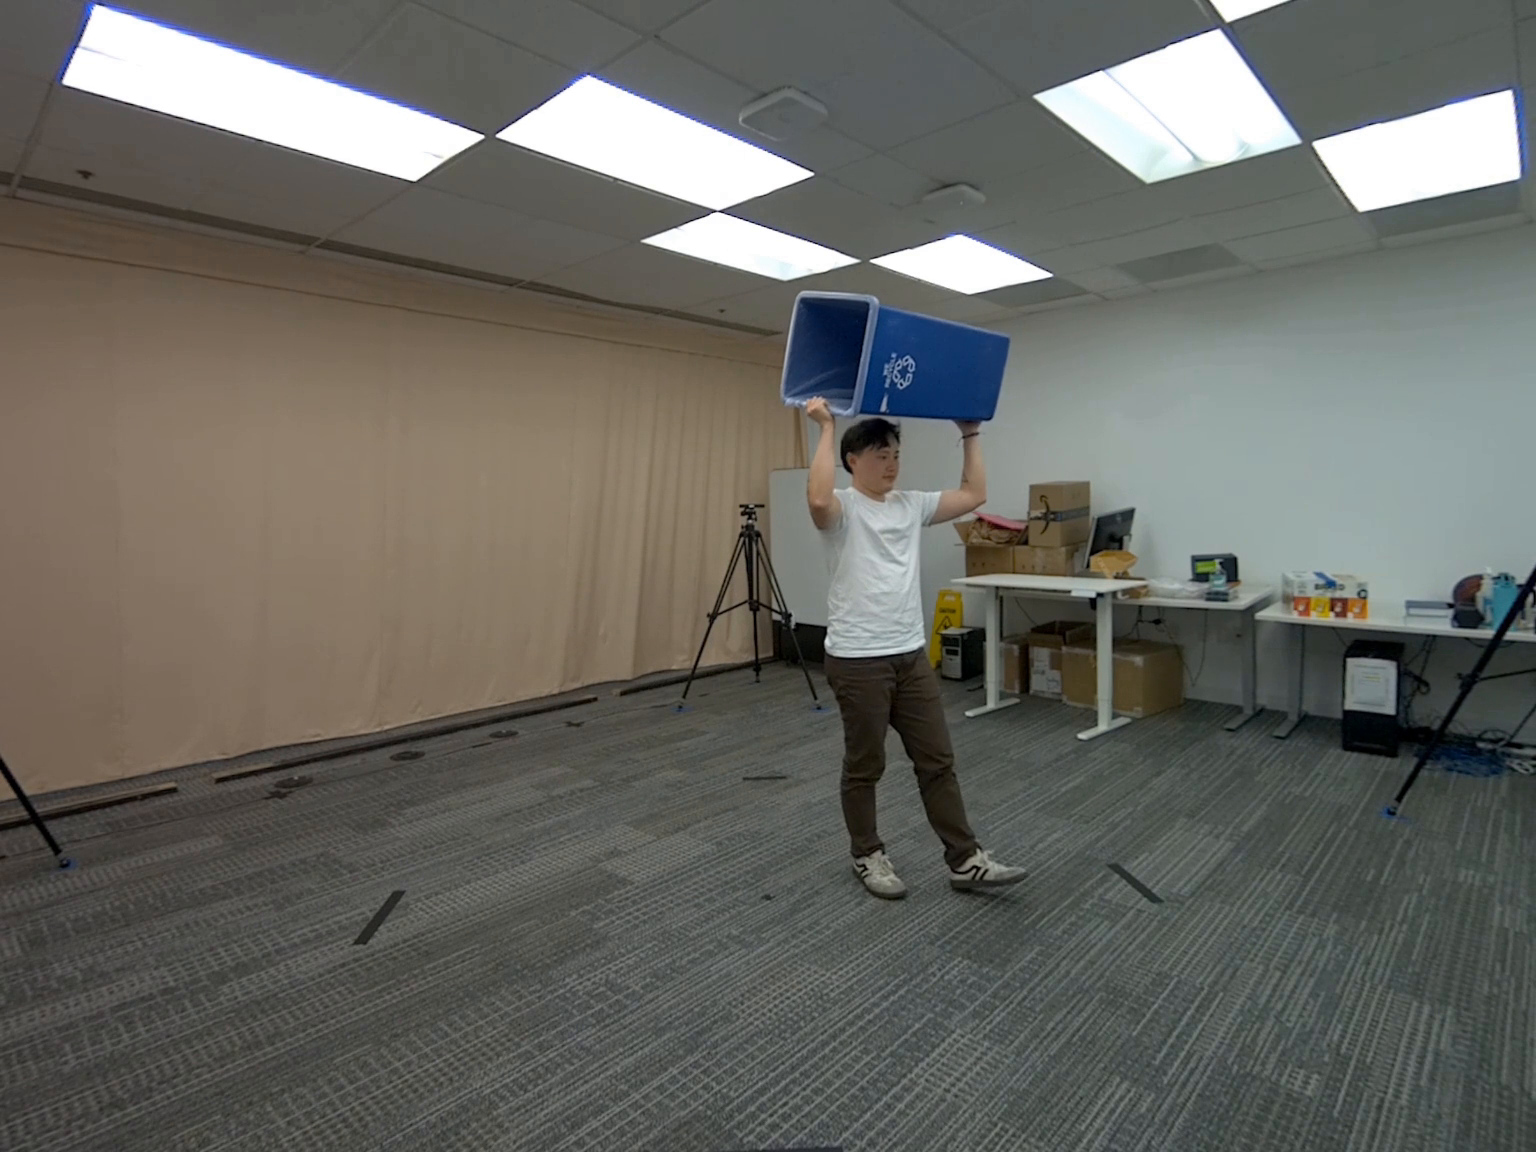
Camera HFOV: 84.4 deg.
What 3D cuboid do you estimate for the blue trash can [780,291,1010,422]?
[{"bbox_3d":[0.459,-0.723,2.864,0.692,0.375,0.388,-3,19,-36],"label":"blue trash can"}]
